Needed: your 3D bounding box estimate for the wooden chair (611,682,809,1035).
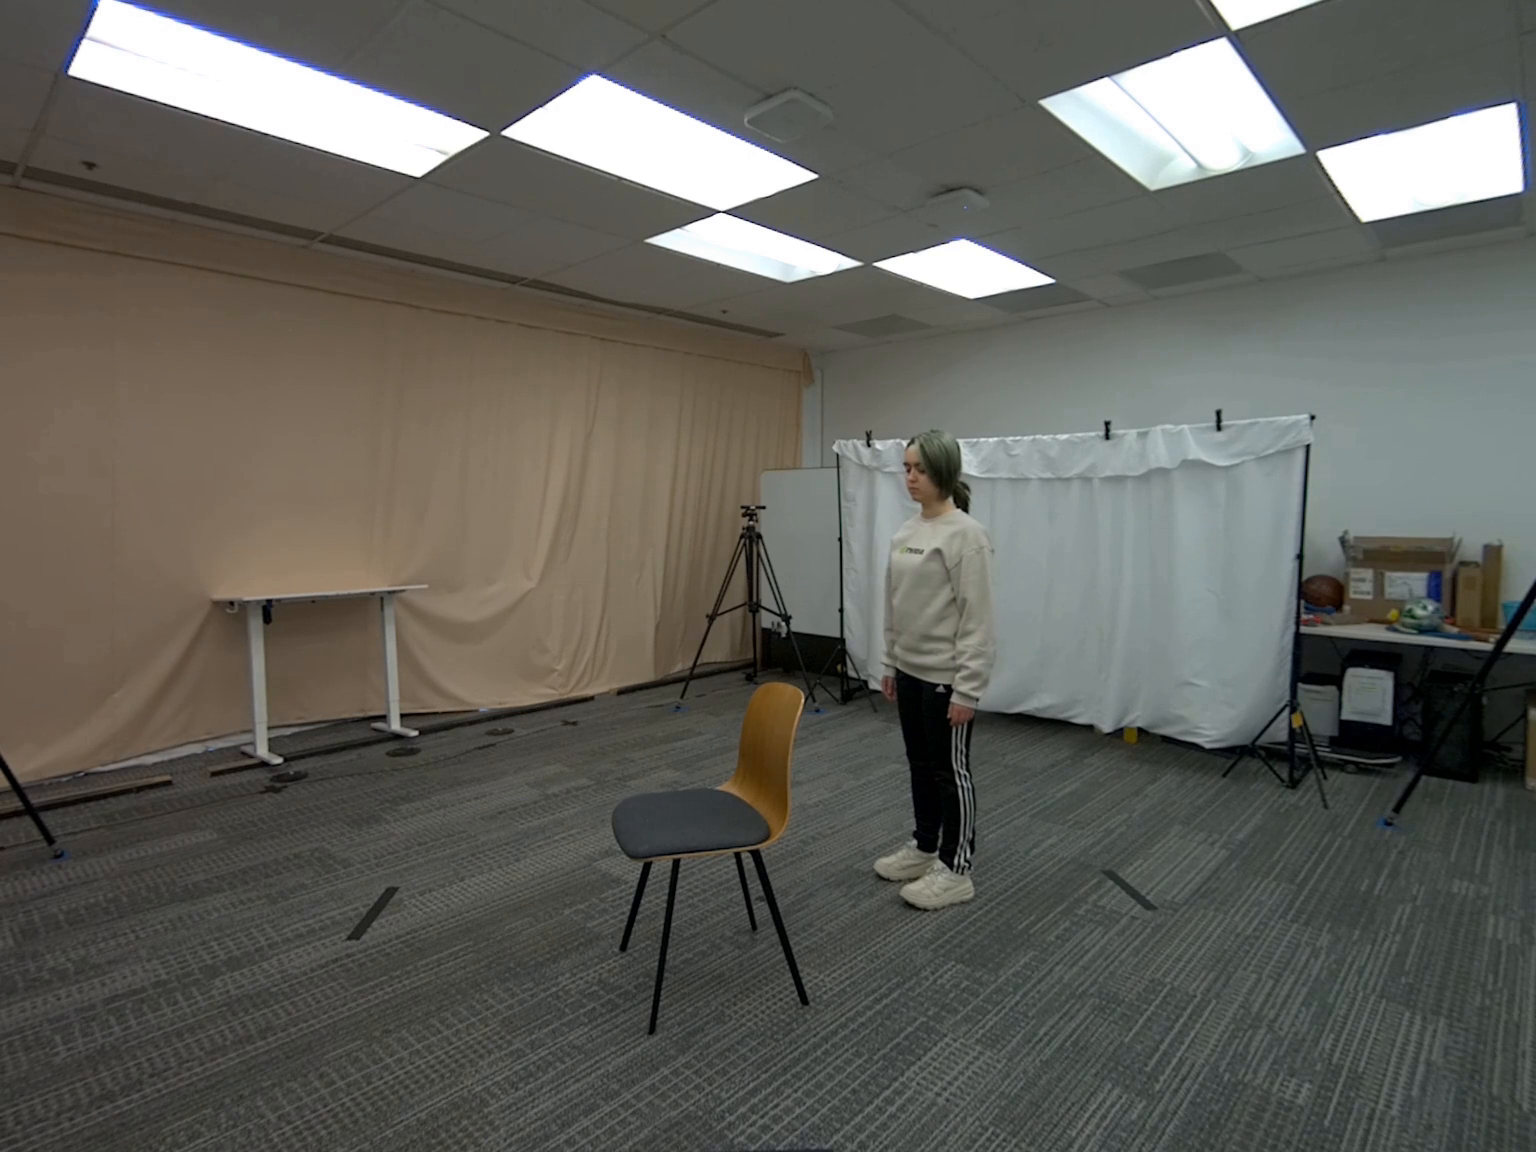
[{"bbox_3d":[-0.180,0.762,2.467,0.513,0.876,0.488,3,2,-19],"label":"wooden chair"}]
